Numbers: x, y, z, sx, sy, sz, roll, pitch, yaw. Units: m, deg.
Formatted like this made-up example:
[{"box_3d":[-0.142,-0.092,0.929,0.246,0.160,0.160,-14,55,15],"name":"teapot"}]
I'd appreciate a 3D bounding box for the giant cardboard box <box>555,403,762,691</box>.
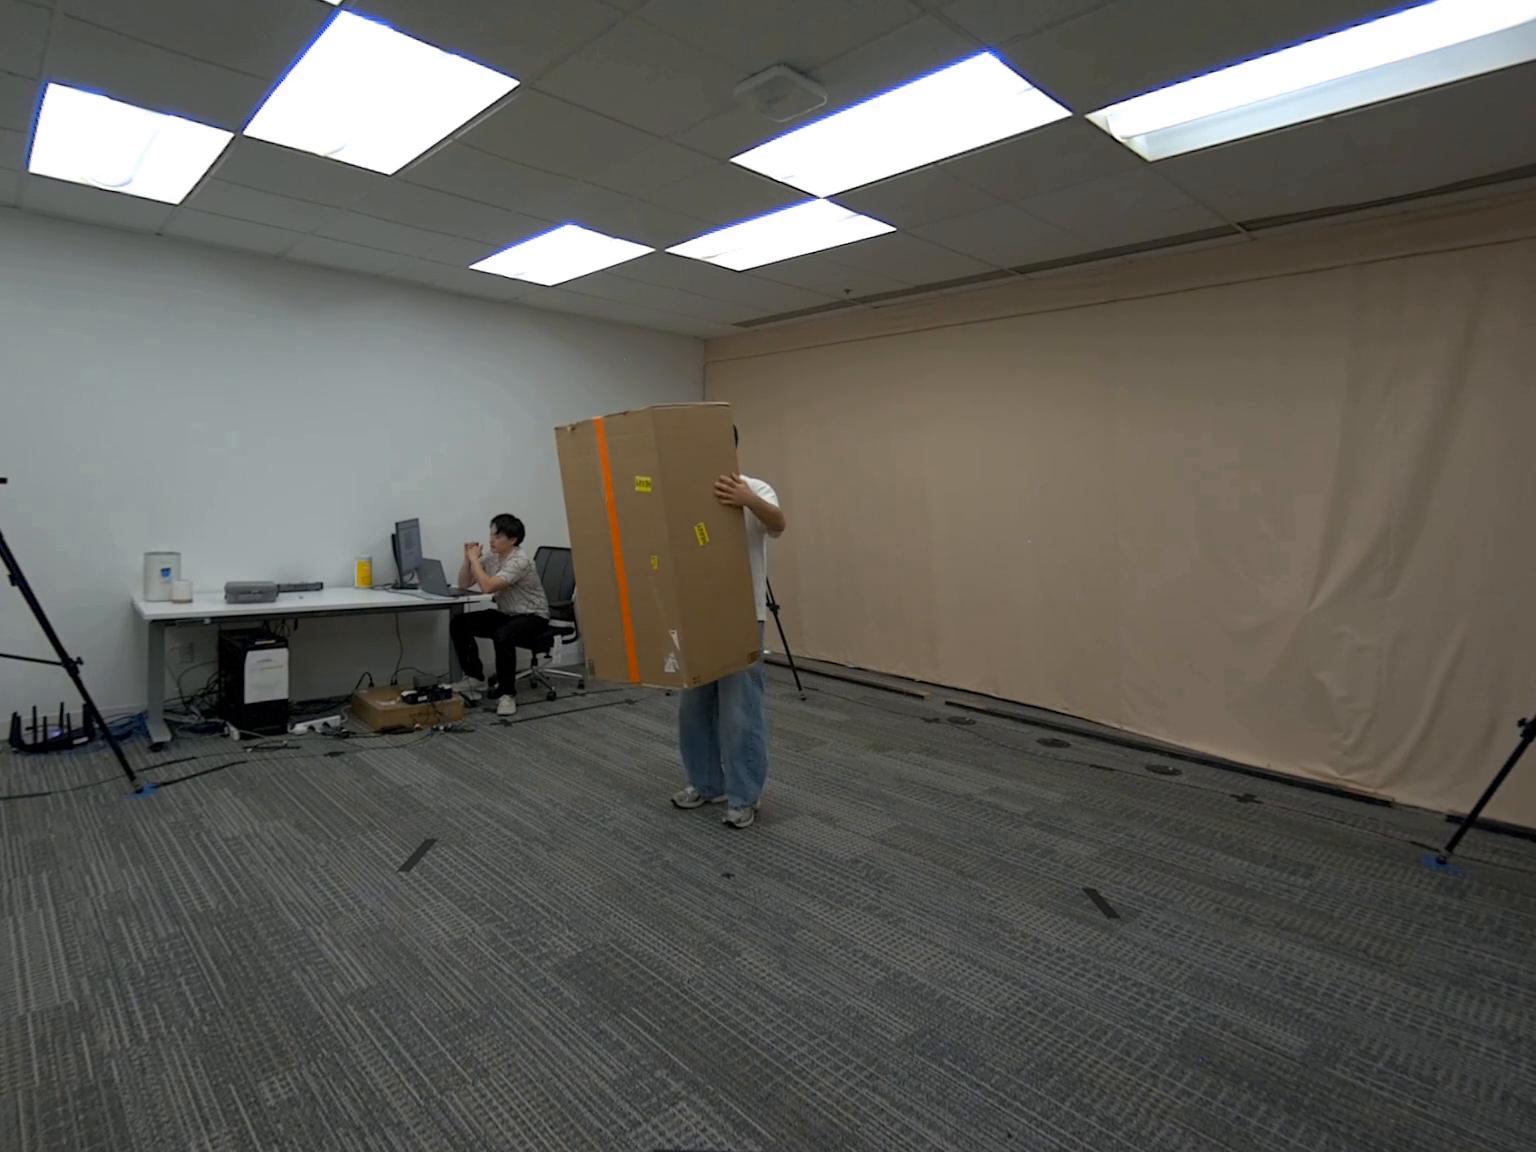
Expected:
[{"box_3d":[-0.443,-0.116,3.317,0.590,1.021,0.418,-2,7,41],"name":"giant cardboard box"}]
